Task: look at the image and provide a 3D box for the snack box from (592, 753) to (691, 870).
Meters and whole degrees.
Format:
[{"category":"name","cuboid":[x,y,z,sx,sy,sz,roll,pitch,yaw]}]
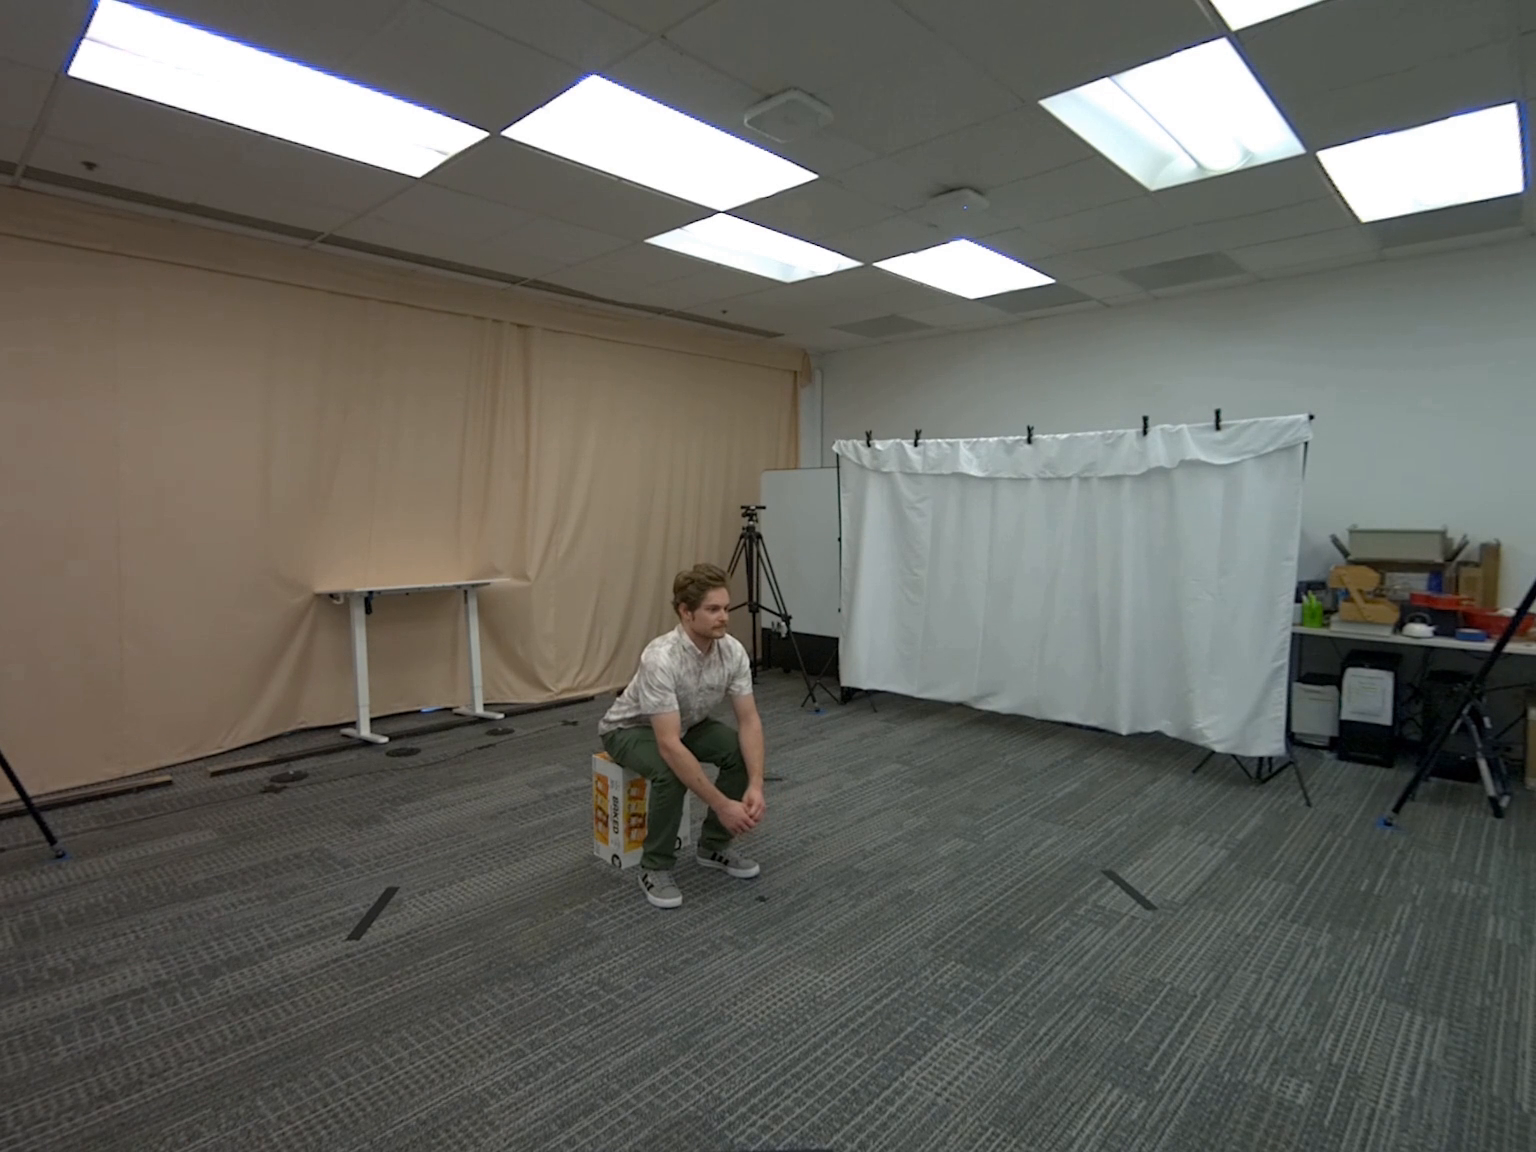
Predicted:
[{"category":"snack box","cuboid":[-0.514,0.913,3.407,0.330,0.404,0.212,-5,6,-44]}]
